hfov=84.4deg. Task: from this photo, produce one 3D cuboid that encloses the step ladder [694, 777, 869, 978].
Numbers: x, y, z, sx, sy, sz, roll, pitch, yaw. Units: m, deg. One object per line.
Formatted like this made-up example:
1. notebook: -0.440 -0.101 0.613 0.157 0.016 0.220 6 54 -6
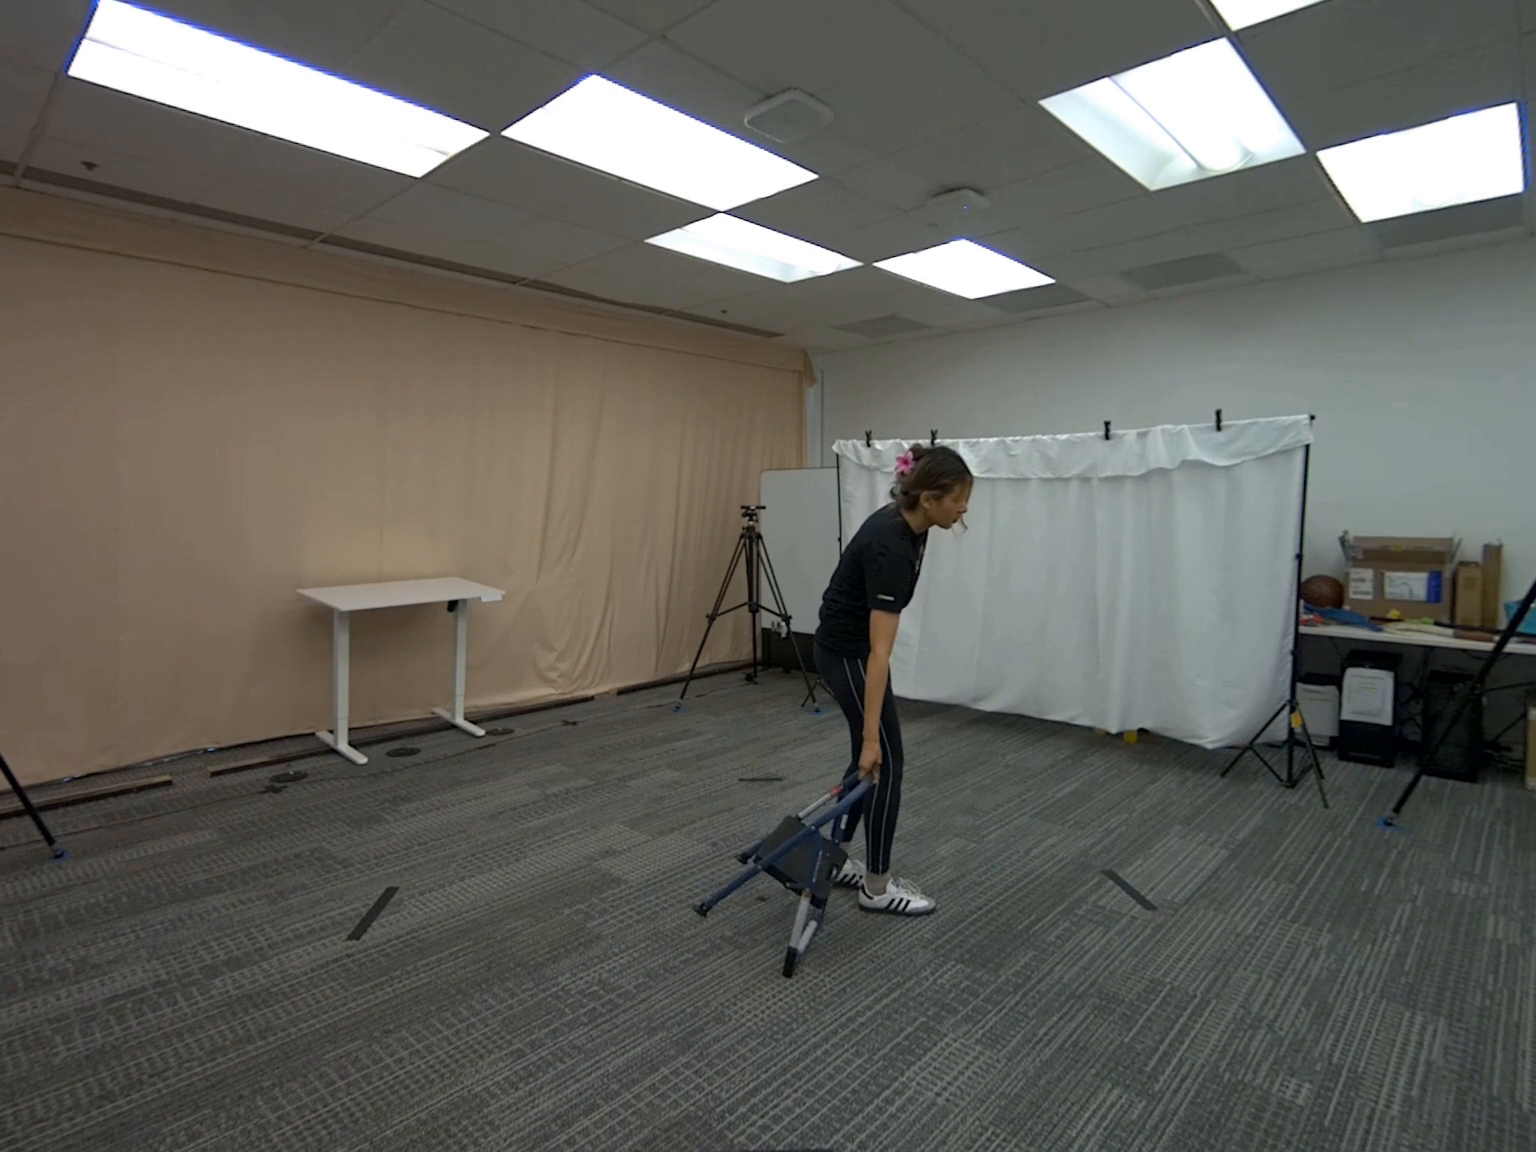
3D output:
1. step ladder: 0.116 0.831 2.649 0.356 0.605 0.423 30 12 14
